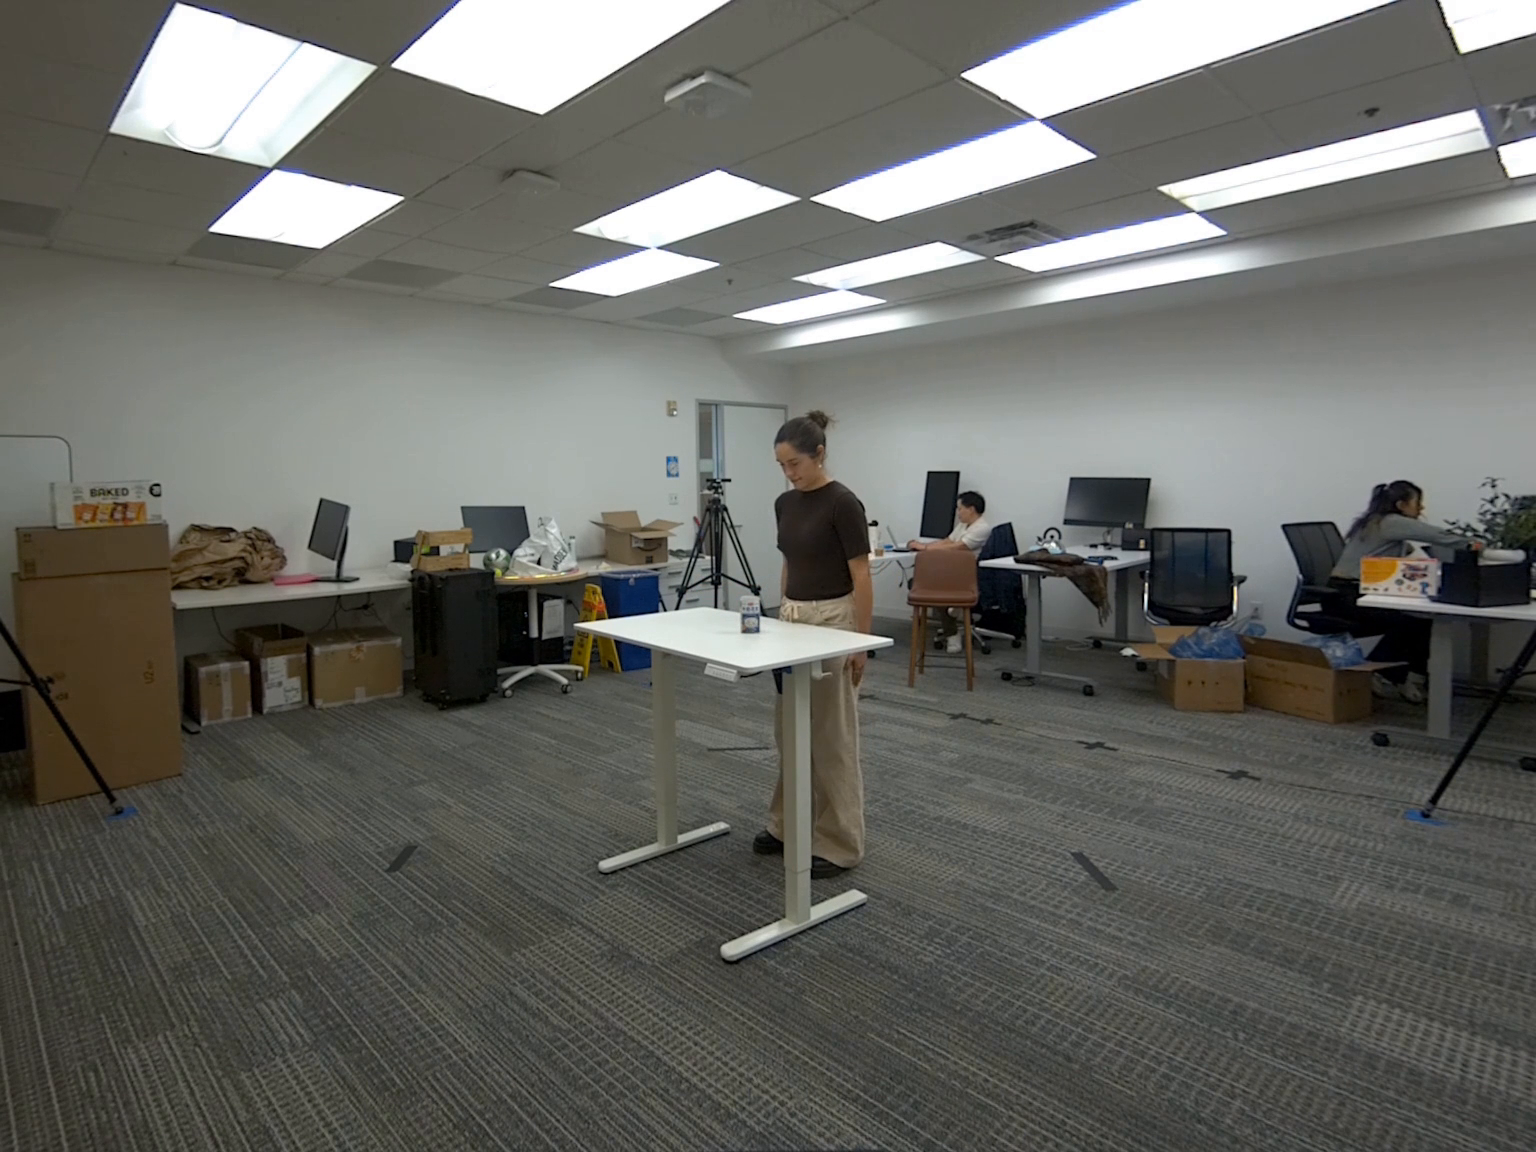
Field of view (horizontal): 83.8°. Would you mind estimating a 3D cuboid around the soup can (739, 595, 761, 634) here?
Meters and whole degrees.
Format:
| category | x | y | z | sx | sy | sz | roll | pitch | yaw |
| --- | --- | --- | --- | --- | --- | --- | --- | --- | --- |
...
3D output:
| category | x | y | z | sx | sy | sz | roll | pitch | yaw |
| --- | --- | --- | --- | --- | --- | --- | --- | --- | --- |
| soup can | -0.059 | 0.132 | 2.862 | 0.067 | 0.121 | 0.067 | 1 | 4 | -2 |
